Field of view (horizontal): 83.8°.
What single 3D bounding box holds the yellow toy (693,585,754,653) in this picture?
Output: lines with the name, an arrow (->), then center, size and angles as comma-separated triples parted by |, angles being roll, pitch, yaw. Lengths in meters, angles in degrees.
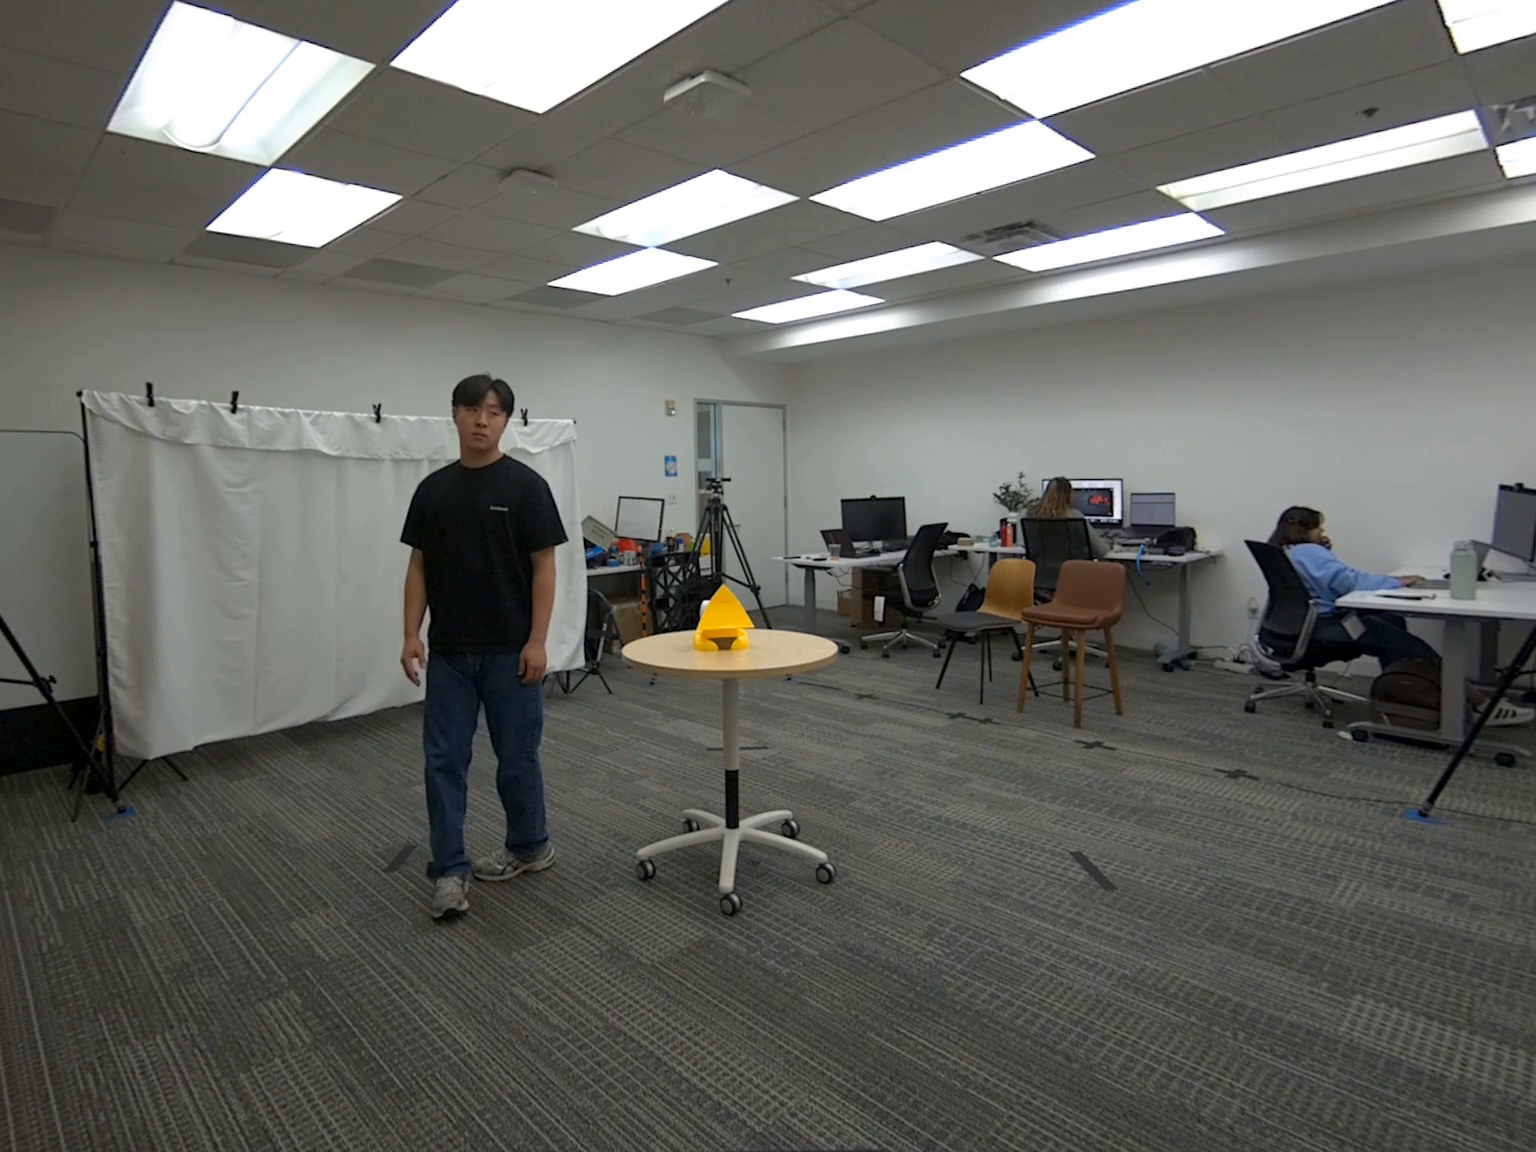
yellow toy -> -0.167, 0.136, 3.056 | 0.202, 0.230, 0.196 | -1, 6, -13
